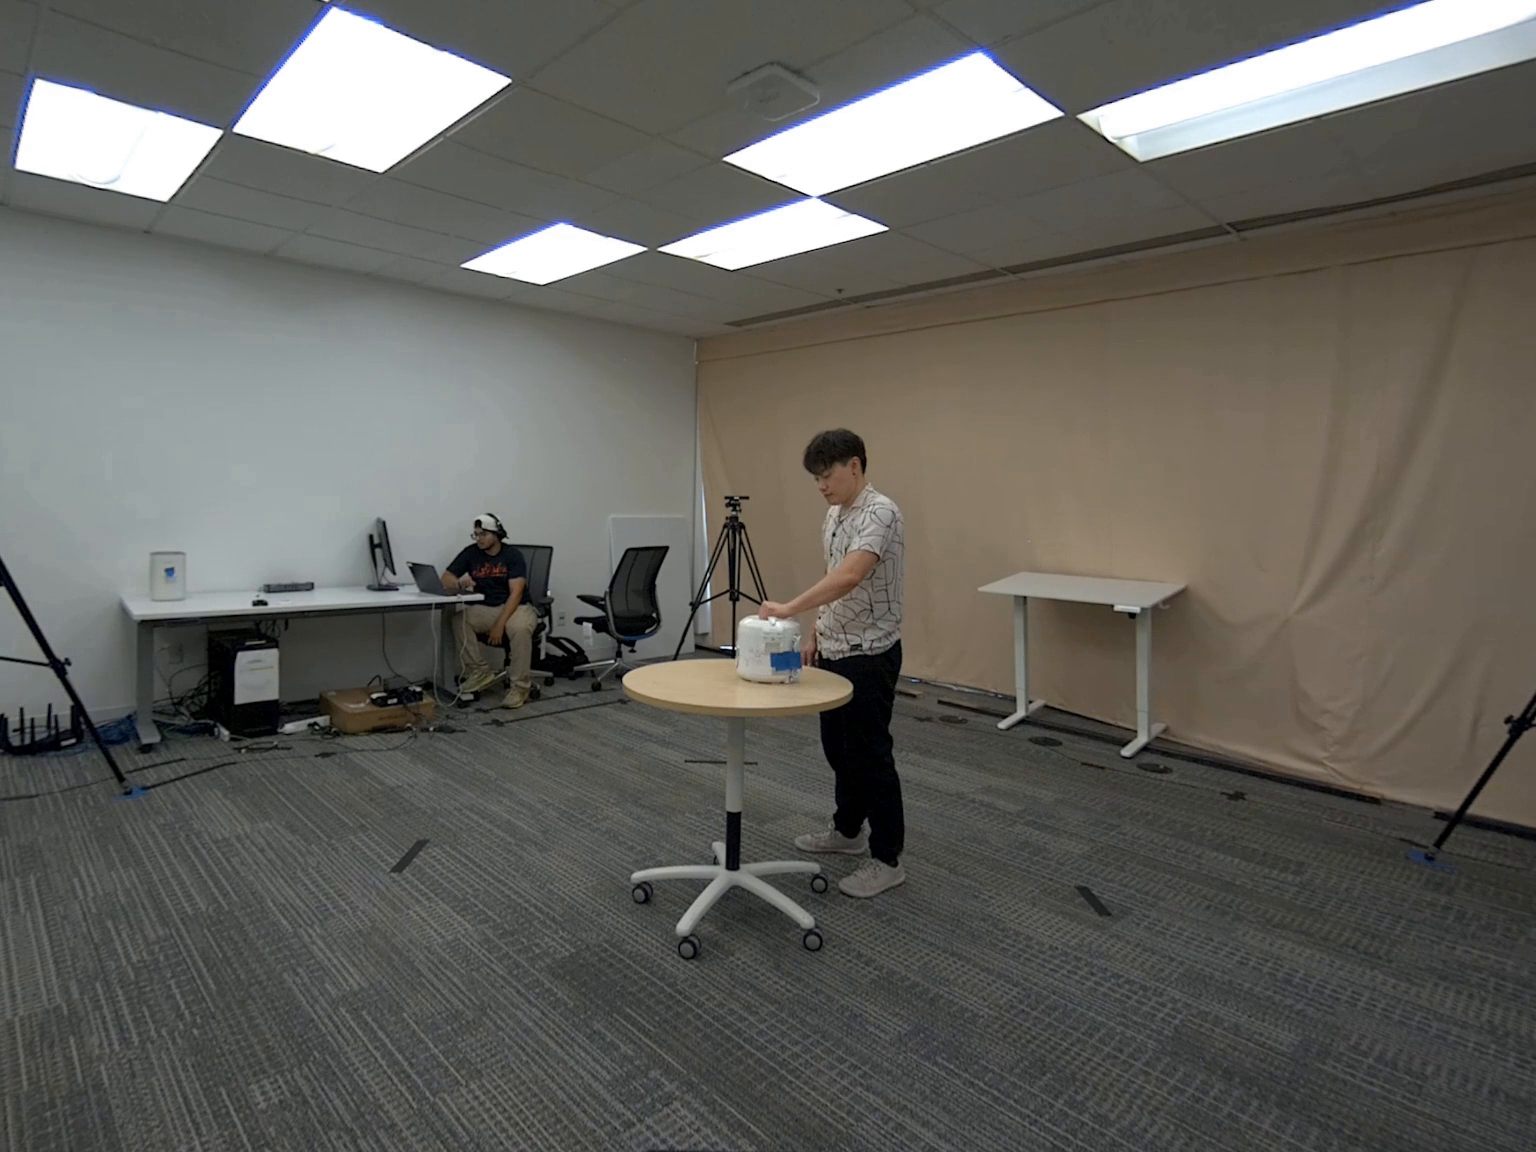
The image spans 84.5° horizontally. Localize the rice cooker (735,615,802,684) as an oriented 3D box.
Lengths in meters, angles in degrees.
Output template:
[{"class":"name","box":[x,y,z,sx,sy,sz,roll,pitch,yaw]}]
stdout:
[{"class":"rice cooker","box":[-0.004,0.234,2.841,0.217,0.232,0.222,3,4,-5]}]
